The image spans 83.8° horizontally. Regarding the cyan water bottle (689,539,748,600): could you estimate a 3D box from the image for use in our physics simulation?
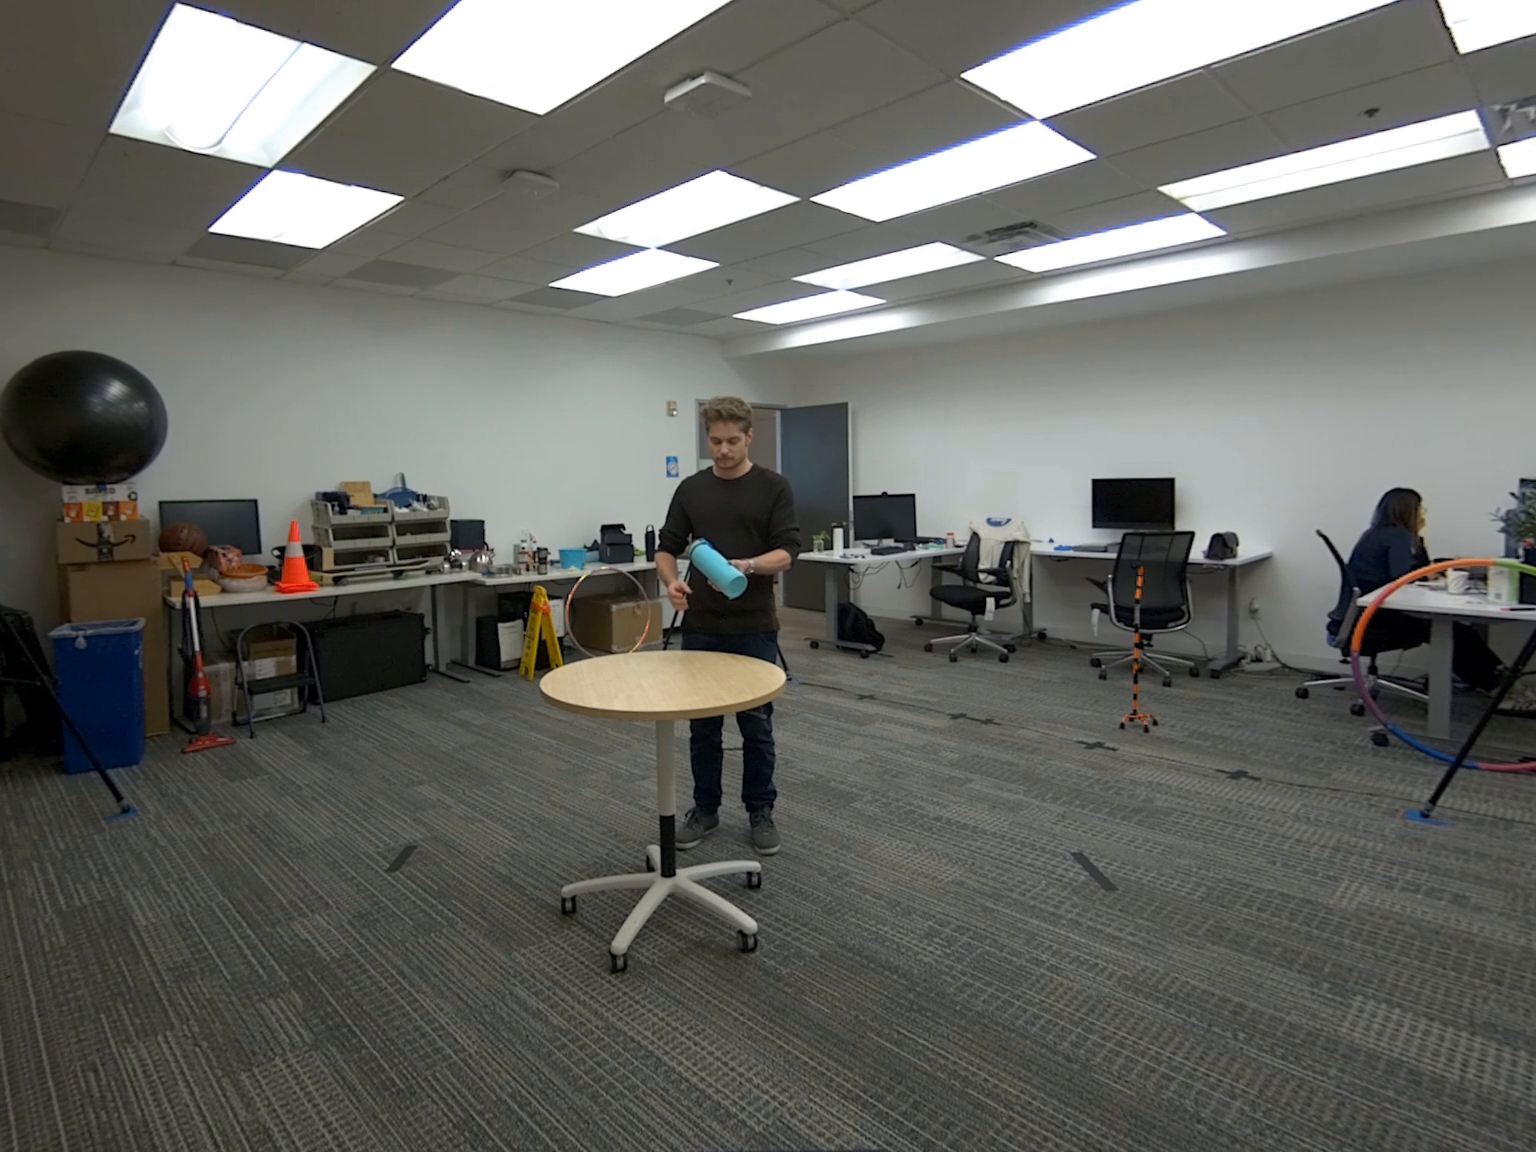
[{"bbox_3d":[-0.190,-0.035,2.949,0.090,0.091,0.295,-4,33,-36],"label":"cyan water bottle"}]
